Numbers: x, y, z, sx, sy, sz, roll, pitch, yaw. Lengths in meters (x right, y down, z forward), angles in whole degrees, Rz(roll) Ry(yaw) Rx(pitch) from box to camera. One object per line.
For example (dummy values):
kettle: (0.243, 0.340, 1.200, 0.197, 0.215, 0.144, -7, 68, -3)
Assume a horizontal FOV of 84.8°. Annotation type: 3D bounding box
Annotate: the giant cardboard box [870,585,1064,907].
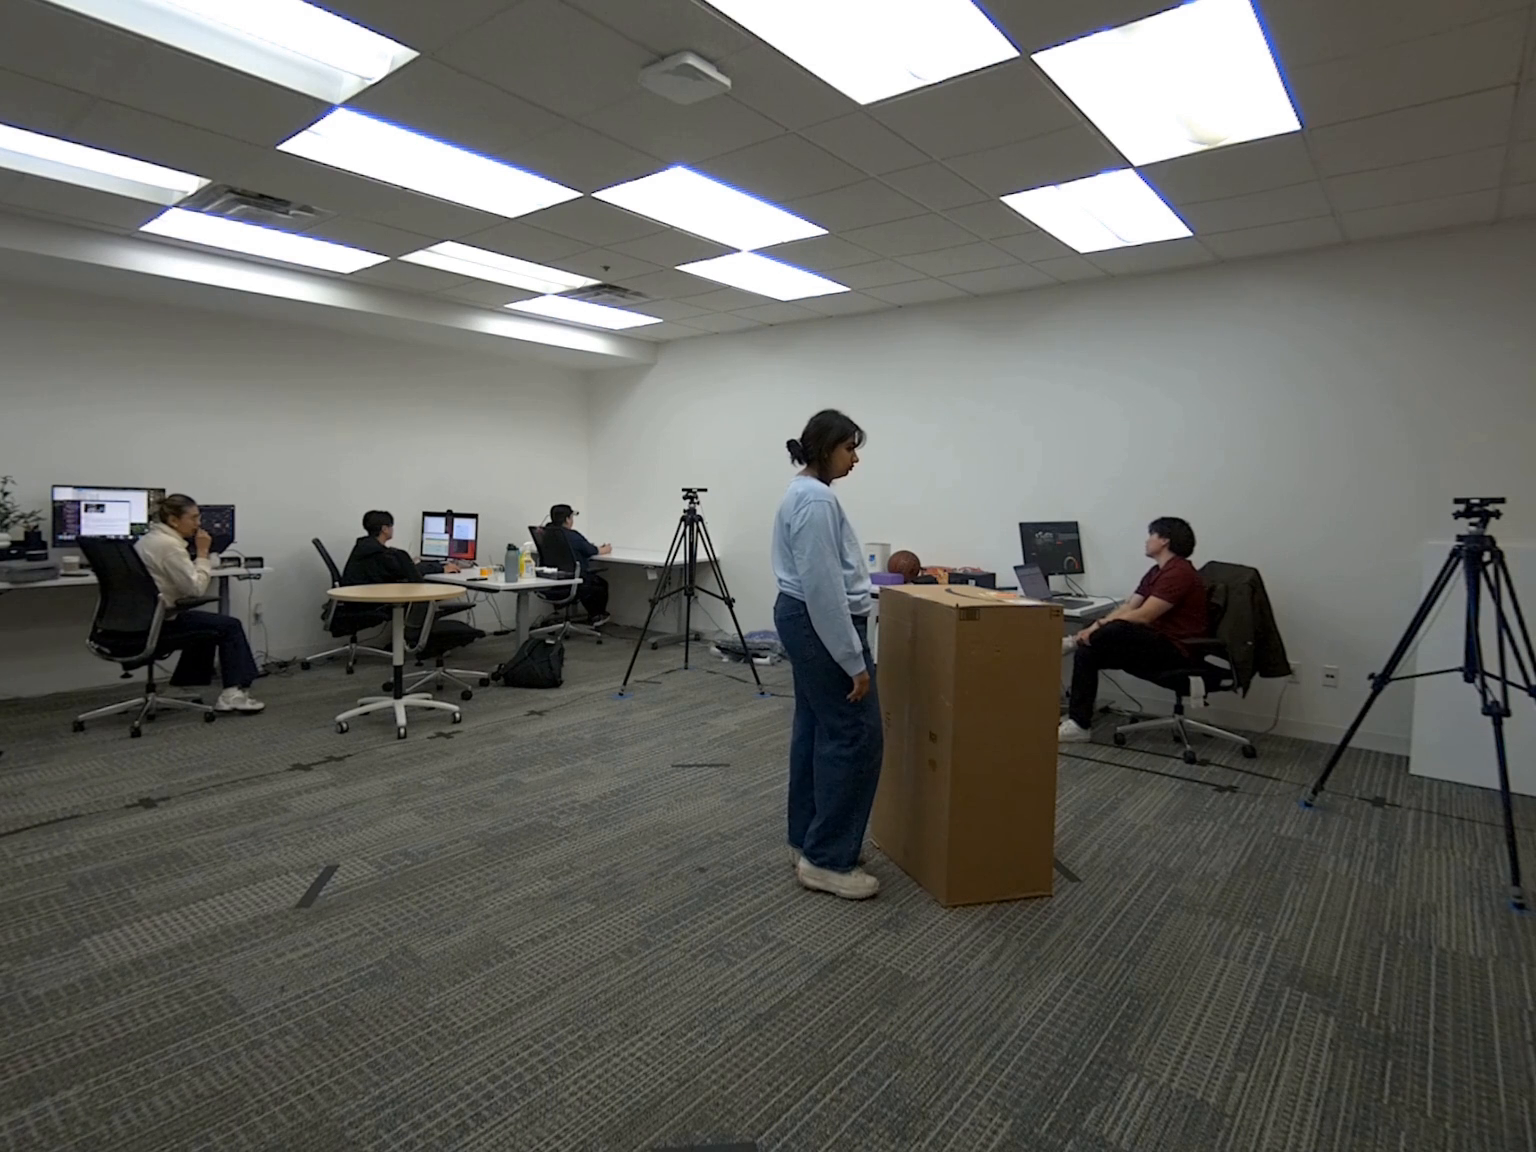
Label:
giant cardboard box: (0.707, 0.574, 3.159, 0.419, 1.023, 0.590, 0, 4, -18)
